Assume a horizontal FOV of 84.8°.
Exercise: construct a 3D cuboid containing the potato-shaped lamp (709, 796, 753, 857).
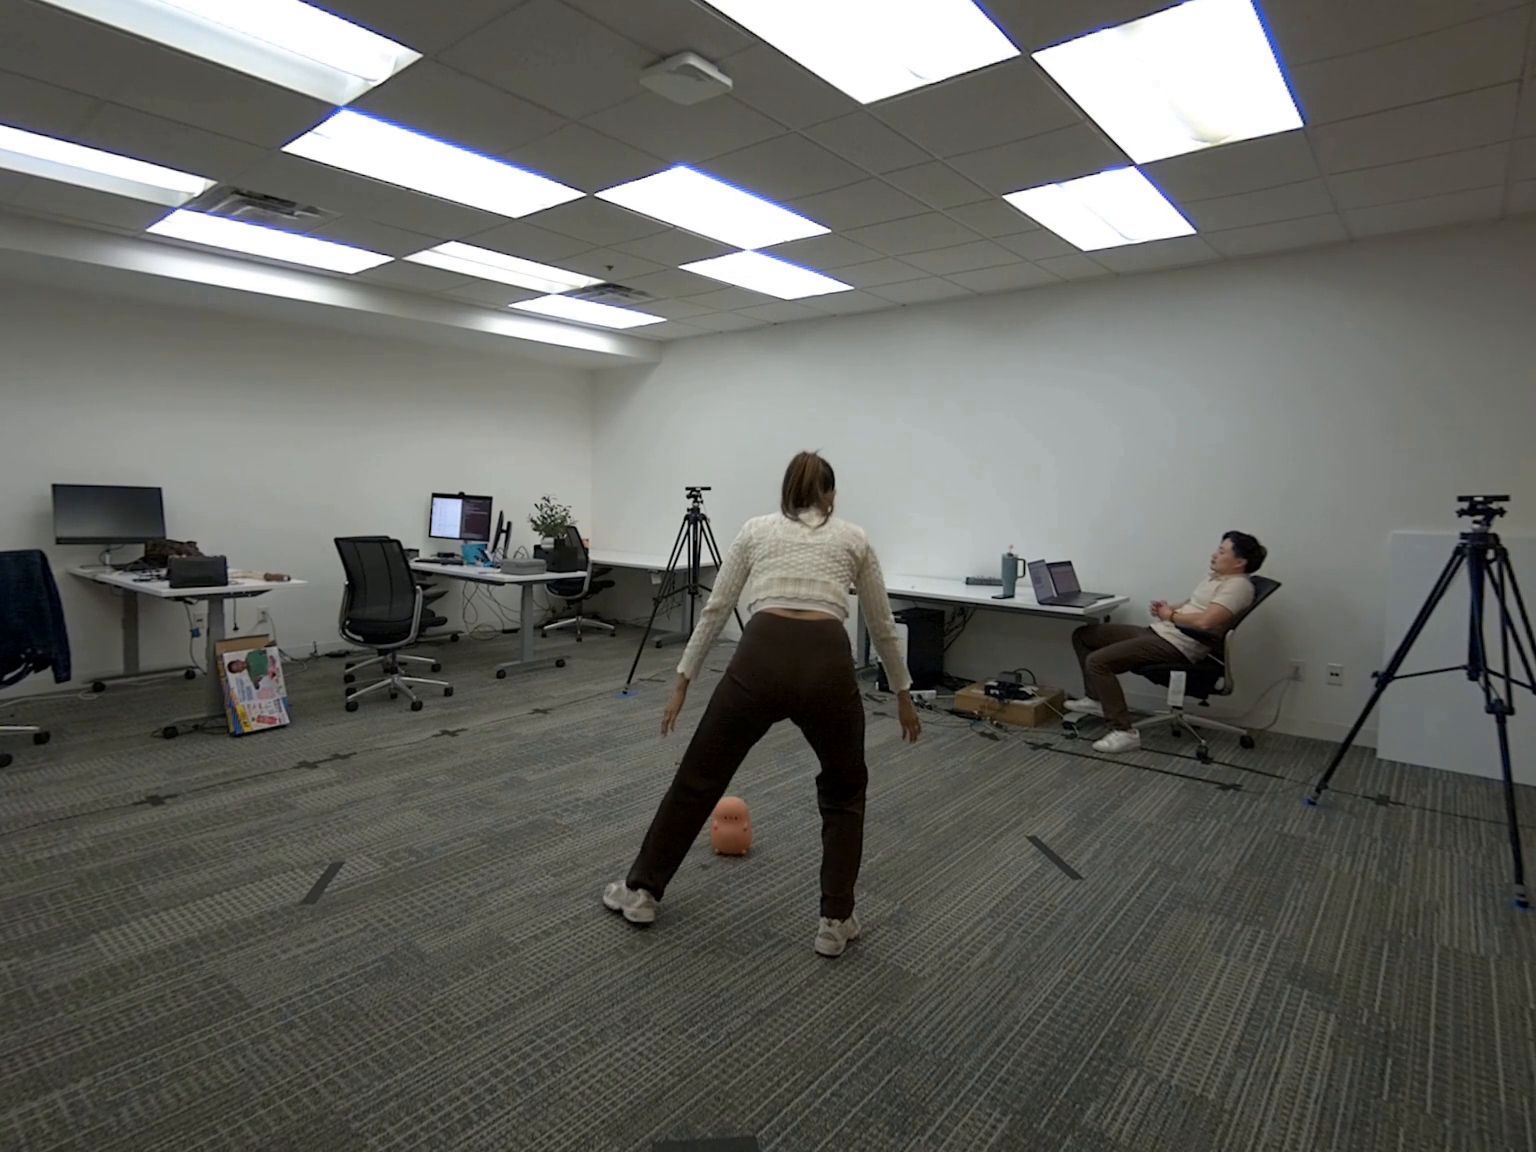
[{"bbox_3d":[-0.152,0.951,3.275,0.165,0.198,0.171,0,2,1],"label":"potato-shaped lamp"}]
